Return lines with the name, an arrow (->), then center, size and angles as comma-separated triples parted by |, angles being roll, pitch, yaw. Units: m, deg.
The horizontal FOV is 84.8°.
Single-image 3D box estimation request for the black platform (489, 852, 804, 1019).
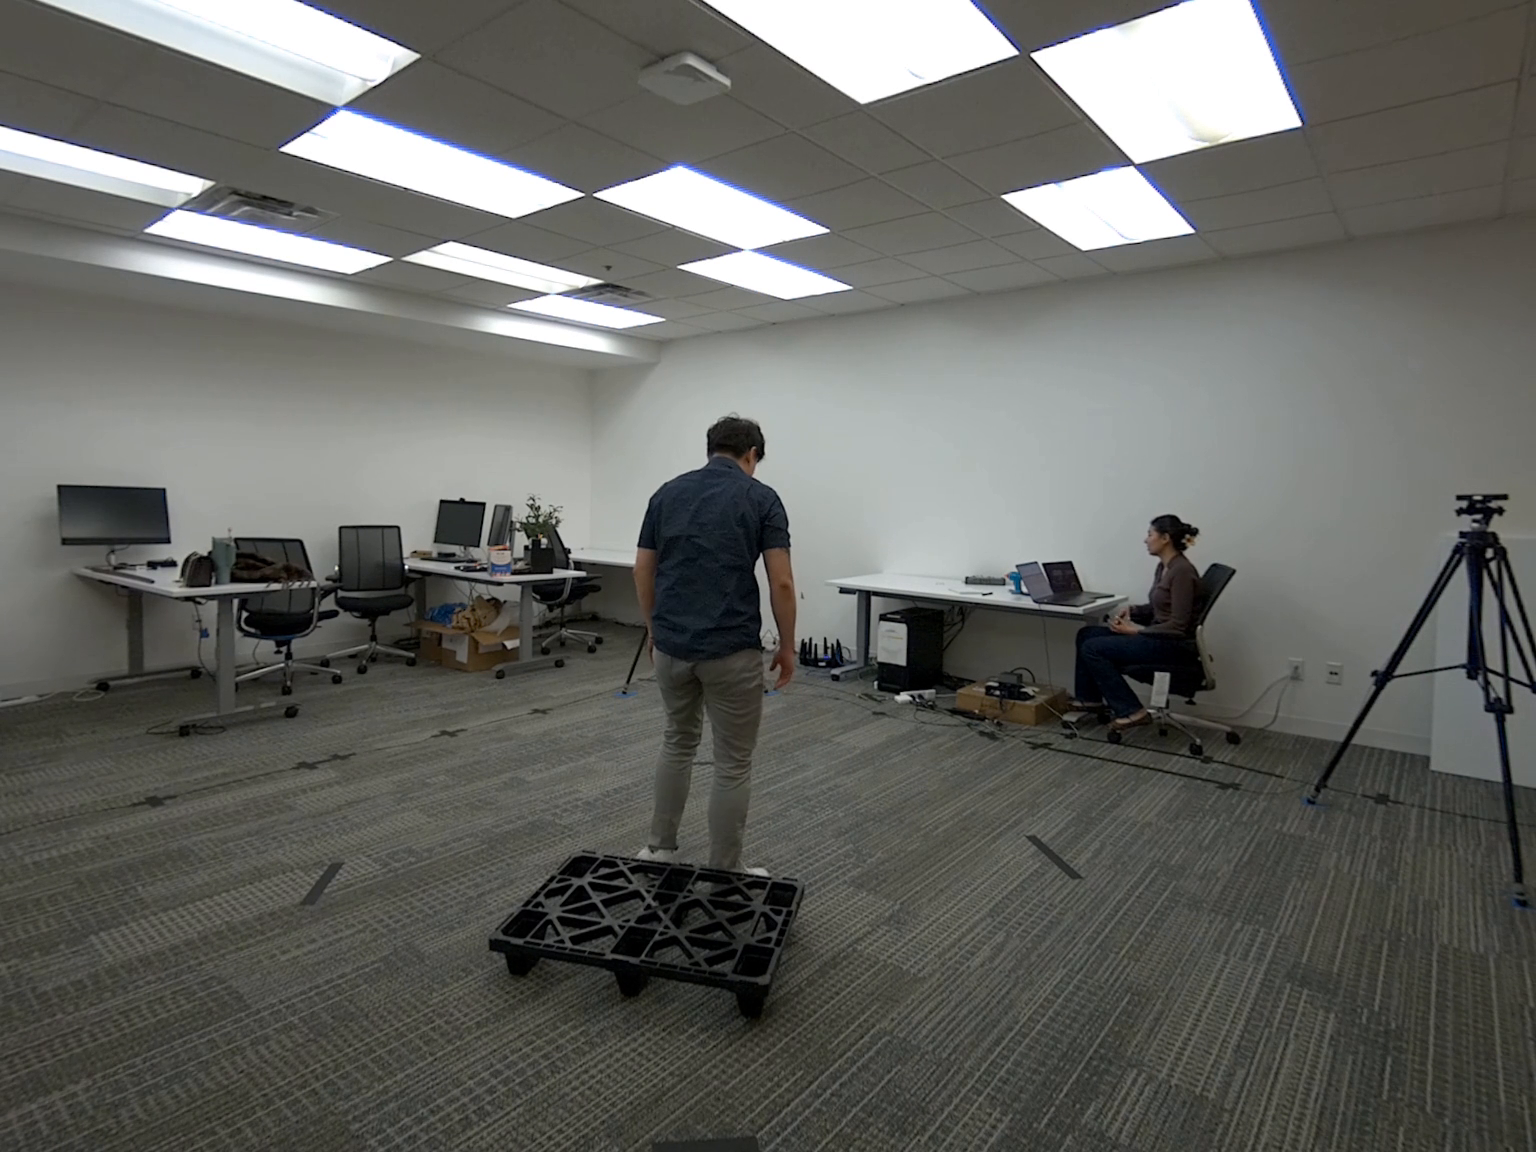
black platform -> -0.343, 1.051, 2.549 | 0.819, 0.143, 0.598 | 2, 6, 14
